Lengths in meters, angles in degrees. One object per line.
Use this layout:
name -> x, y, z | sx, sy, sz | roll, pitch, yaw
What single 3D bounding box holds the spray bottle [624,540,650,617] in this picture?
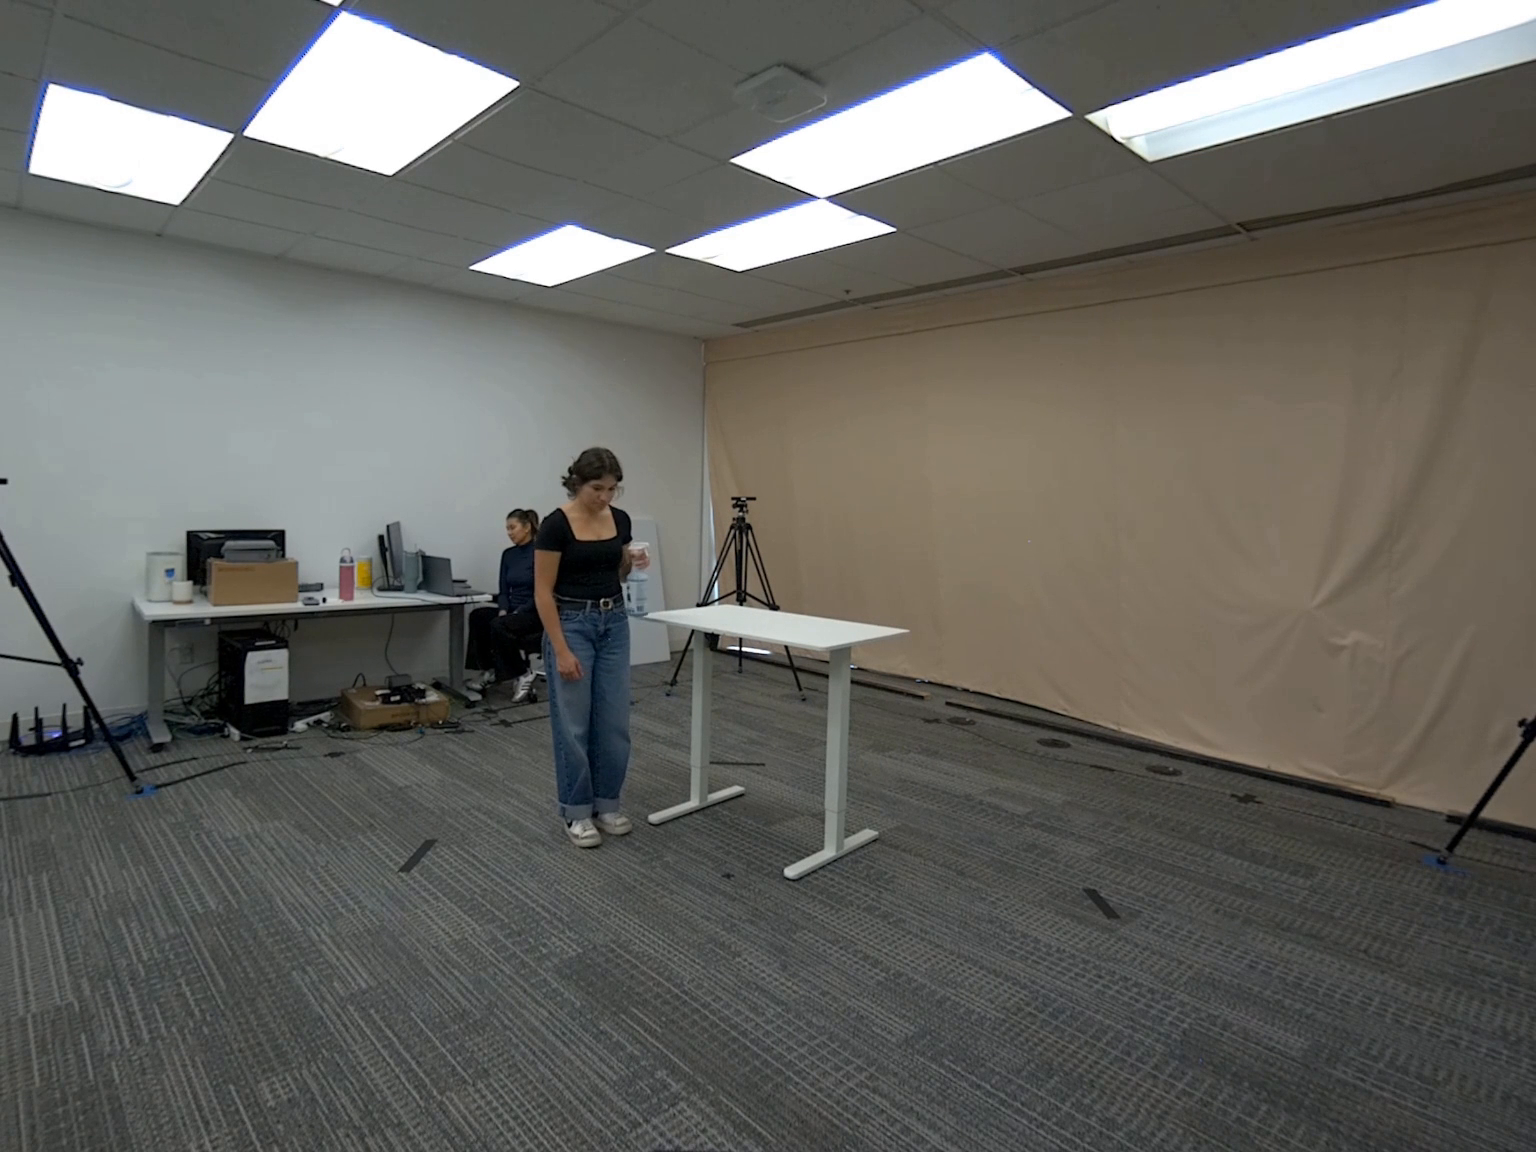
spray bottle -> -0.537, 0.012, 3.386 | 0.092, 0.295, 0.085 | 10, 13, 40
